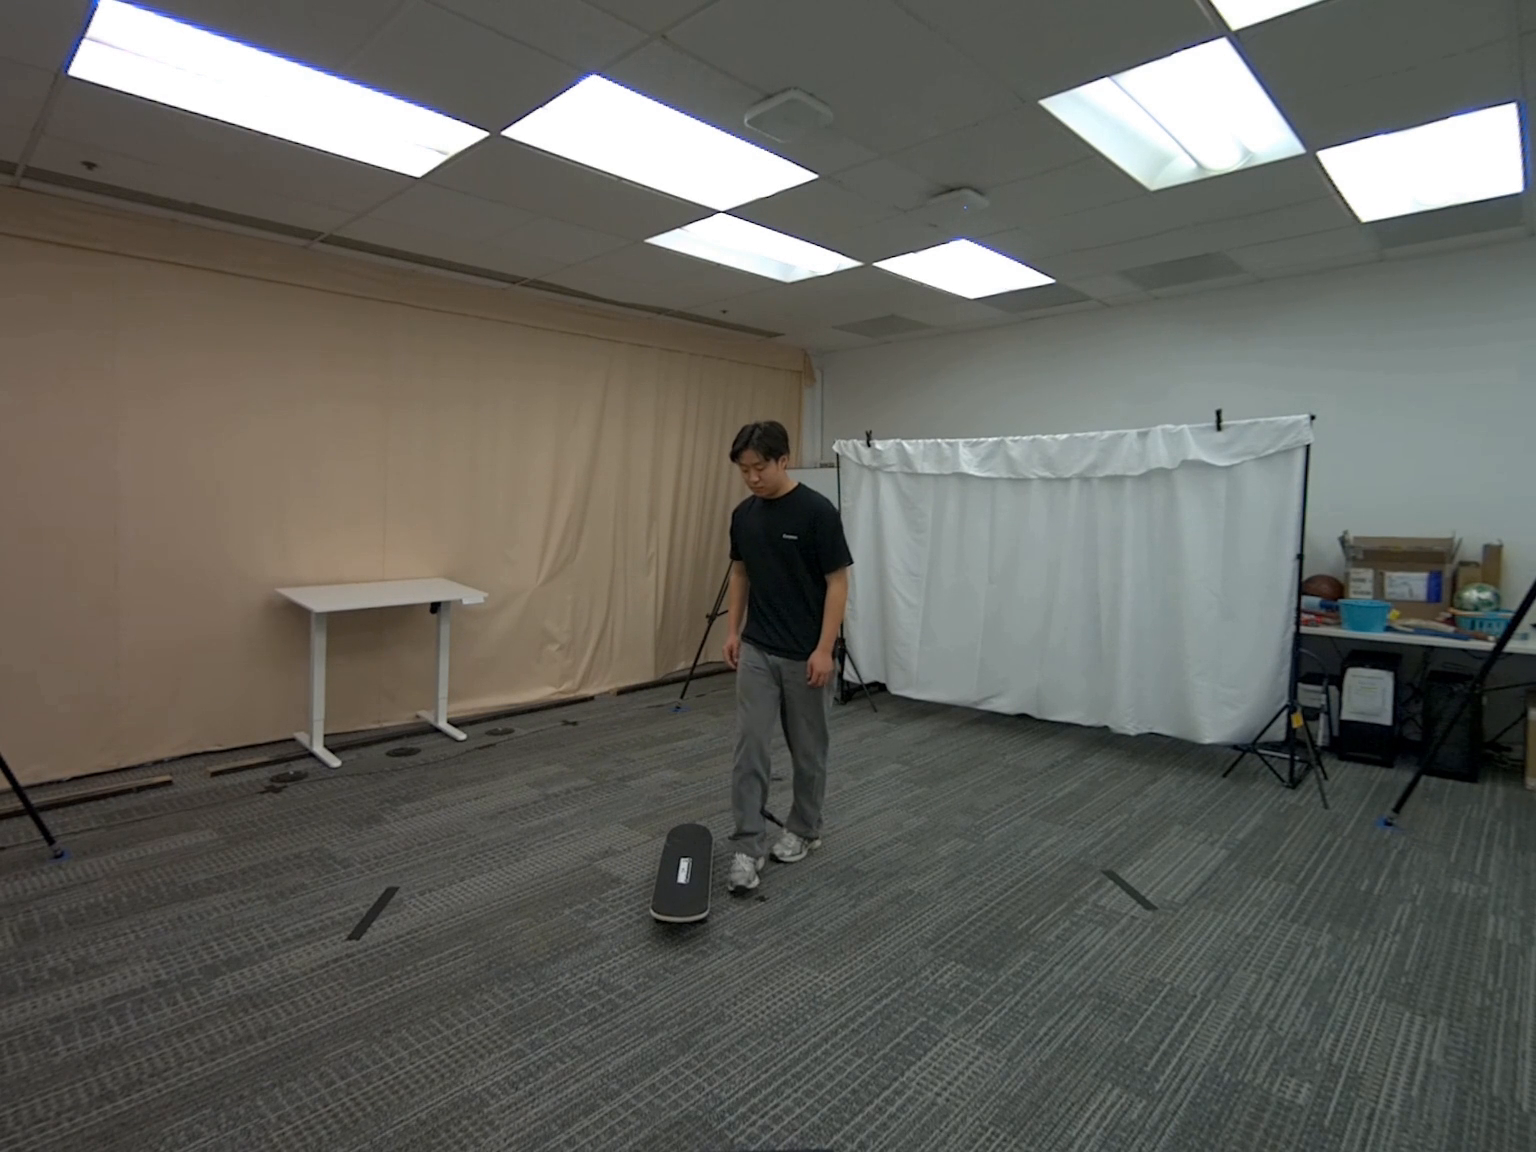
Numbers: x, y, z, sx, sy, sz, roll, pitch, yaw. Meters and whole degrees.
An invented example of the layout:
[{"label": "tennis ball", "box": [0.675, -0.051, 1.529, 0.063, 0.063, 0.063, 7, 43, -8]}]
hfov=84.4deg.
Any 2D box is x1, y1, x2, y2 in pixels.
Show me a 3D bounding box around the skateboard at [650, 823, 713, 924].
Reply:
[{"label": "skateboard", "box": [-0.302, 1.083, 3.015, 0.193, 0.110, 0.788, -1, 5, -2]}]
